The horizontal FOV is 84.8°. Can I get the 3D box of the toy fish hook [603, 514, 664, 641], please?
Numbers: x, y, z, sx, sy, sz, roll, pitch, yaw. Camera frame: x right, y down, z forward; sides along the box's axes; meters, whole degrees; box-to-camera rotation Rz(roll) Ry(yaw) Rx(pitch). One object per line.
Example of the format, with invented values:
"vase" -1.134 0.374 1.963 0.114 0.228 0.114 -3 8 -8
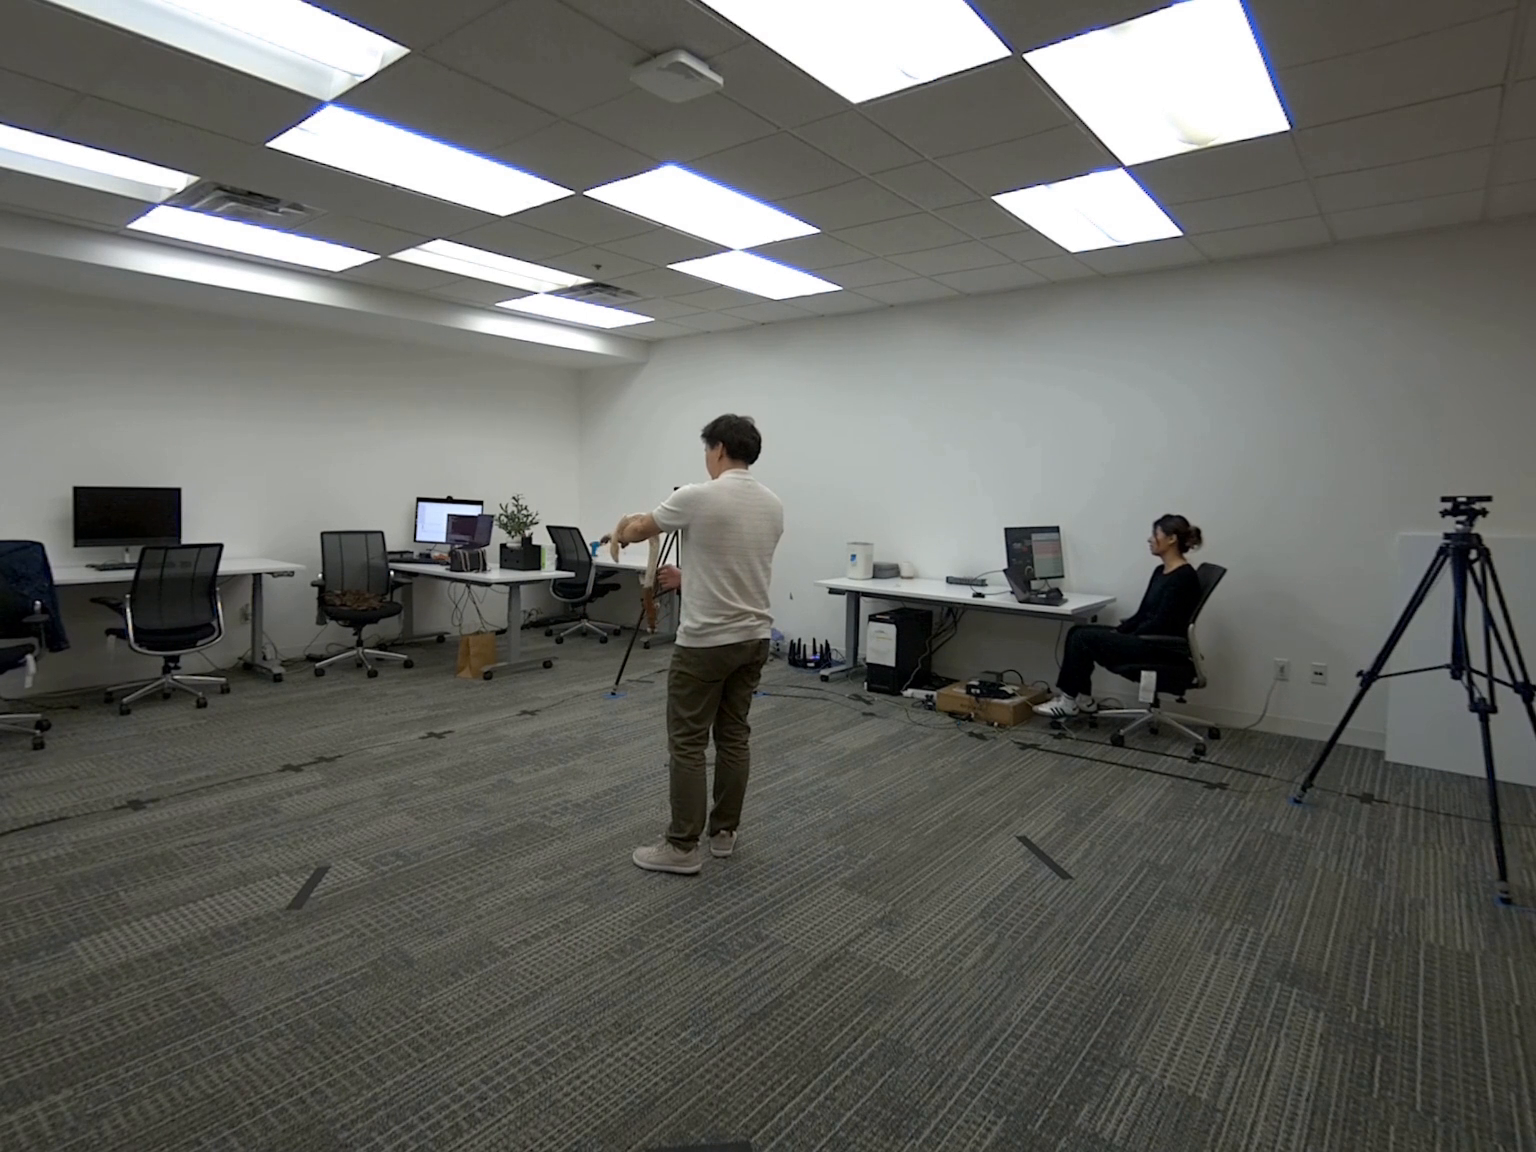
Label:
"toy fish hook" -0.557 -0.001 3.483 0.219 0.505 0.049 -4 3 -25
